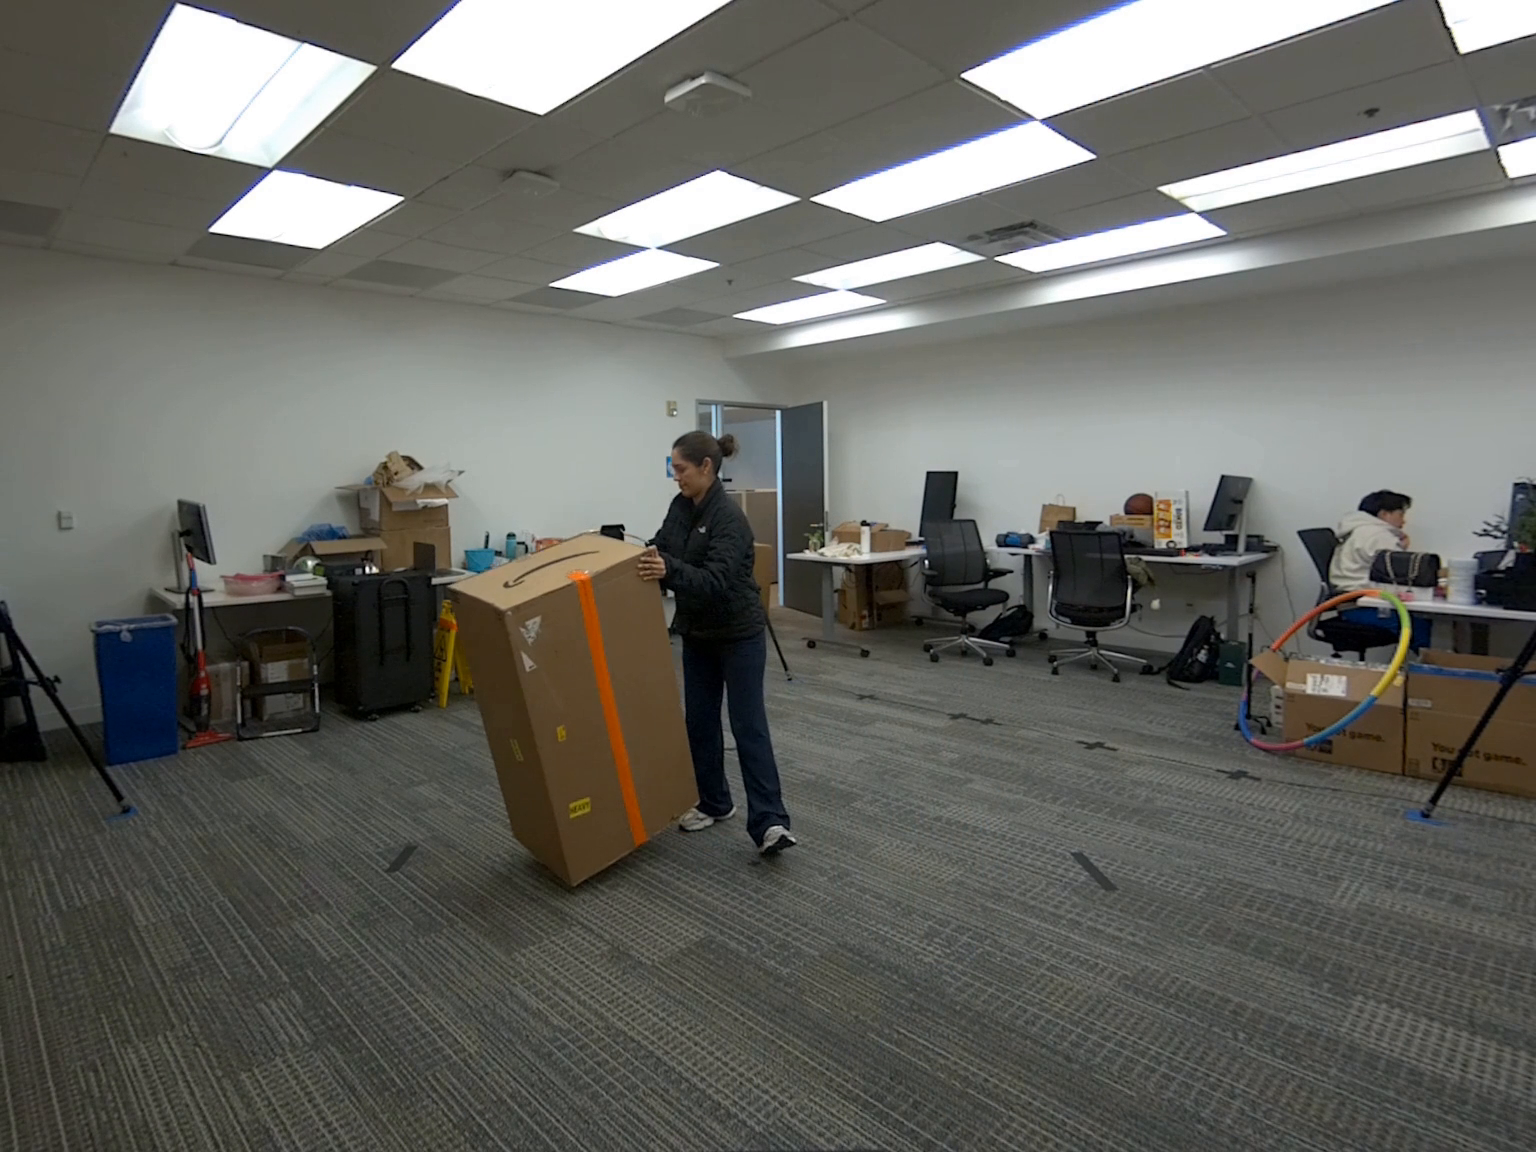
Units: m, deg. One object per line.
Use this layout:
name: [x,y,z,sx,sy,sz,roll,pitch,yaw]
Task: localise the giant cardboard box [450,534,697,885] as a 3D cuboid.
giant cardboard box: [-0.663,0.446,3.040,0.568,1.008,0.441,-23,23,-37]
